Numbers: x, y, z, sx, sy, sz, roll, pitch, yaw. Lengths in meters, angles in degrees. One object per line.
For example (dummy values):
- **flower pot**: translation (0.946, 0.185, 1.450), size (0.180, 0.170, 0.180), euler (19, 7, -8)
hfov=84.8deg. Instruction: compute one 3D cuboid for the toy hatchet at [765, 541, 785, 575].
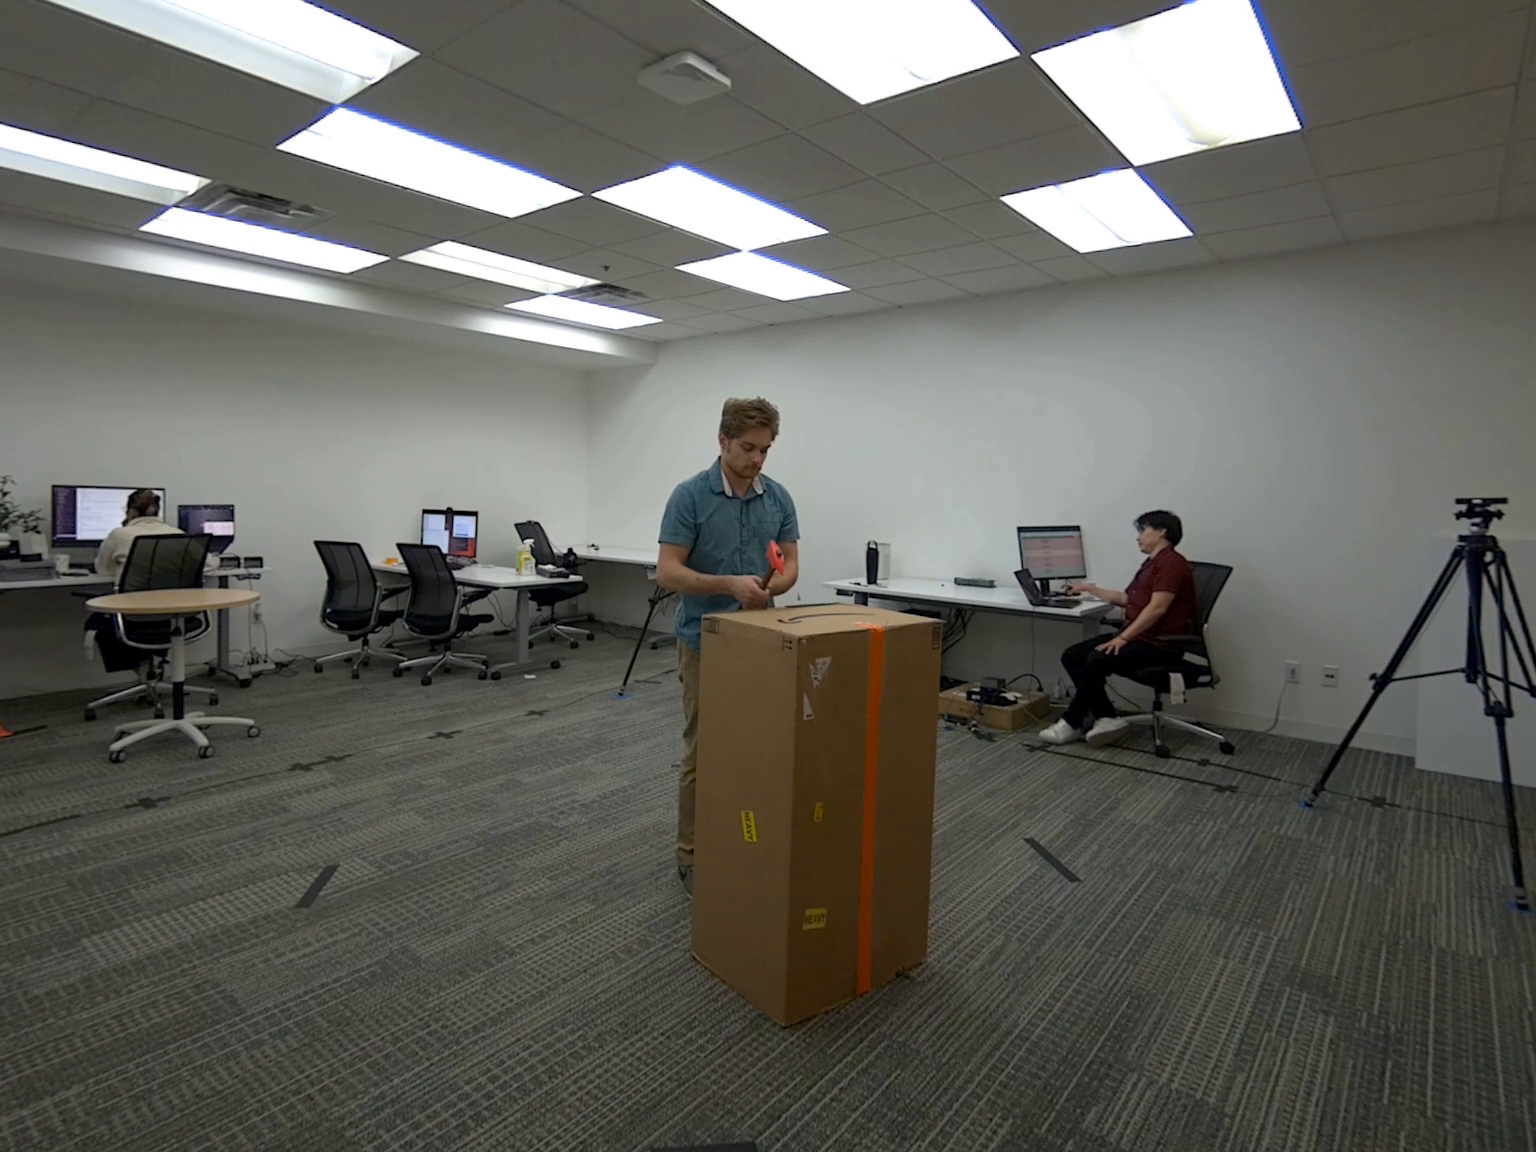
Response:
- **toy hatchet**: translation (-0.026, -0.023, 2.658), size (0.029, 0.134, 0.271), euler (3, -21, -24)
